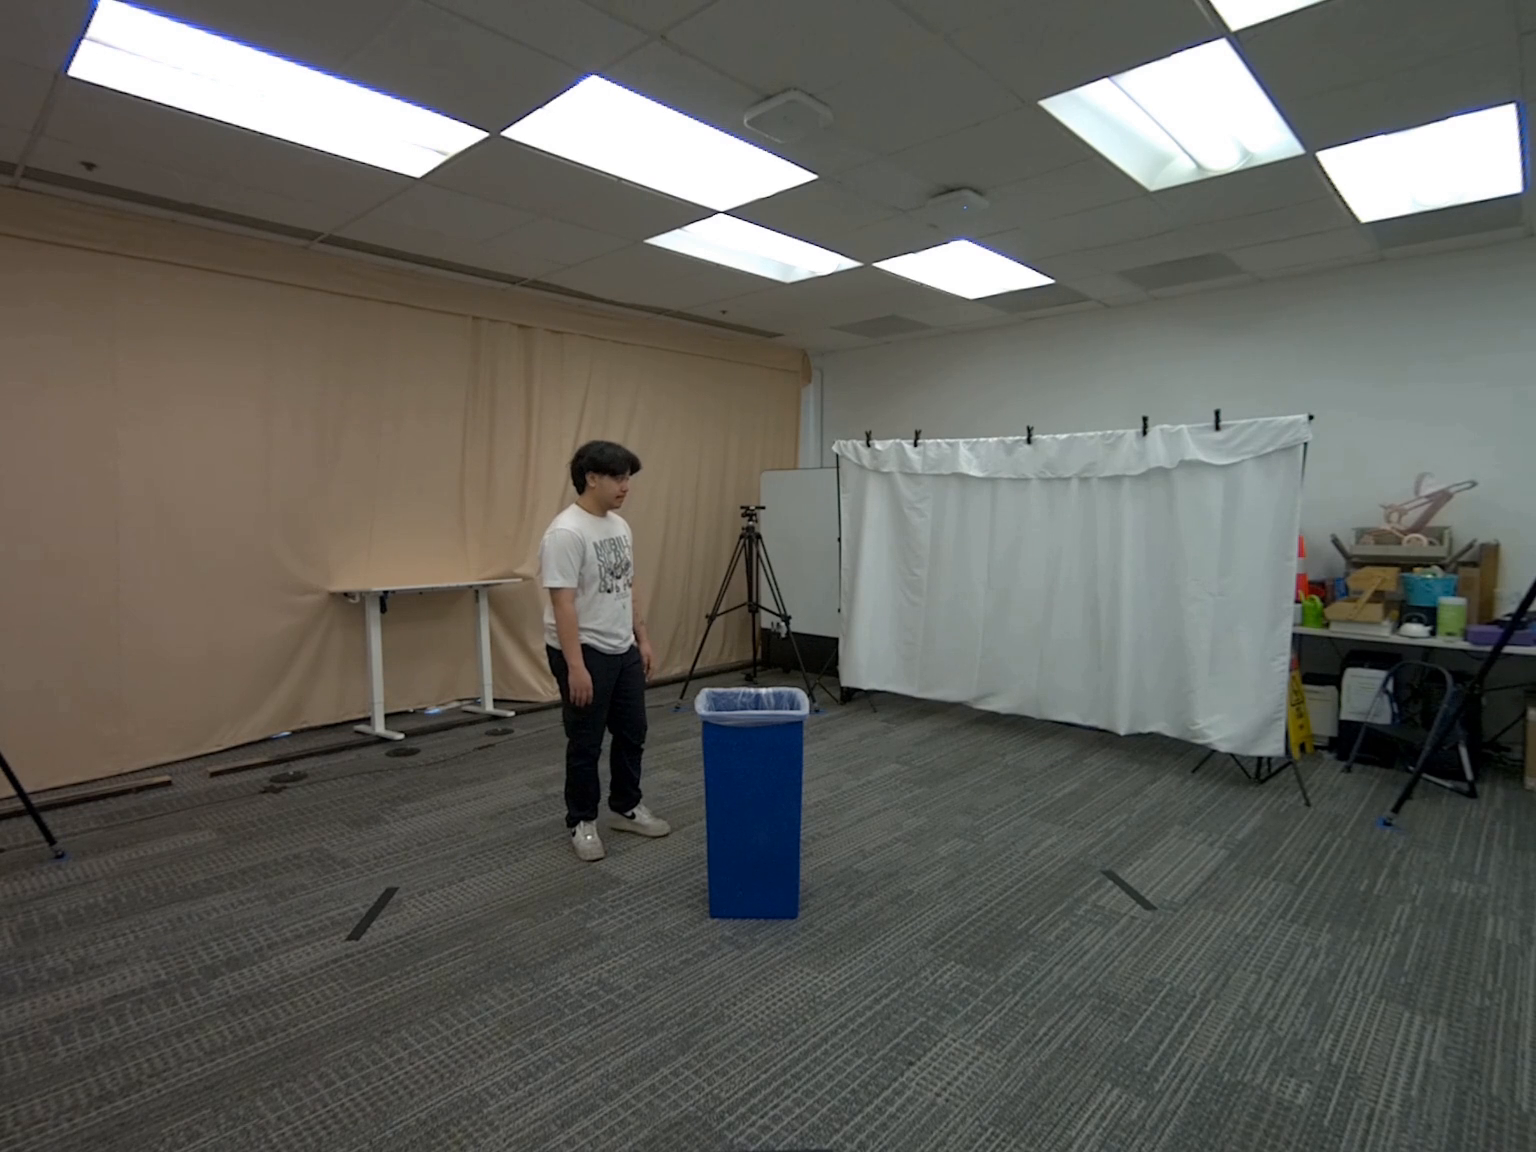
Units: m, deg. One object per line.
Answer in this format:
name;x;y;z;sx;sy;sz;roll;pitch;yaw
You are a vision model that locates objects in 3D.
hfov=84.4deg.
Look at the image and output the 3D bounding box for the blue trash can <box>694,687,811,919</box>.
blue trash can;-0.051;0.790;2.961;0.378;0.712;0.374;0;3;0
